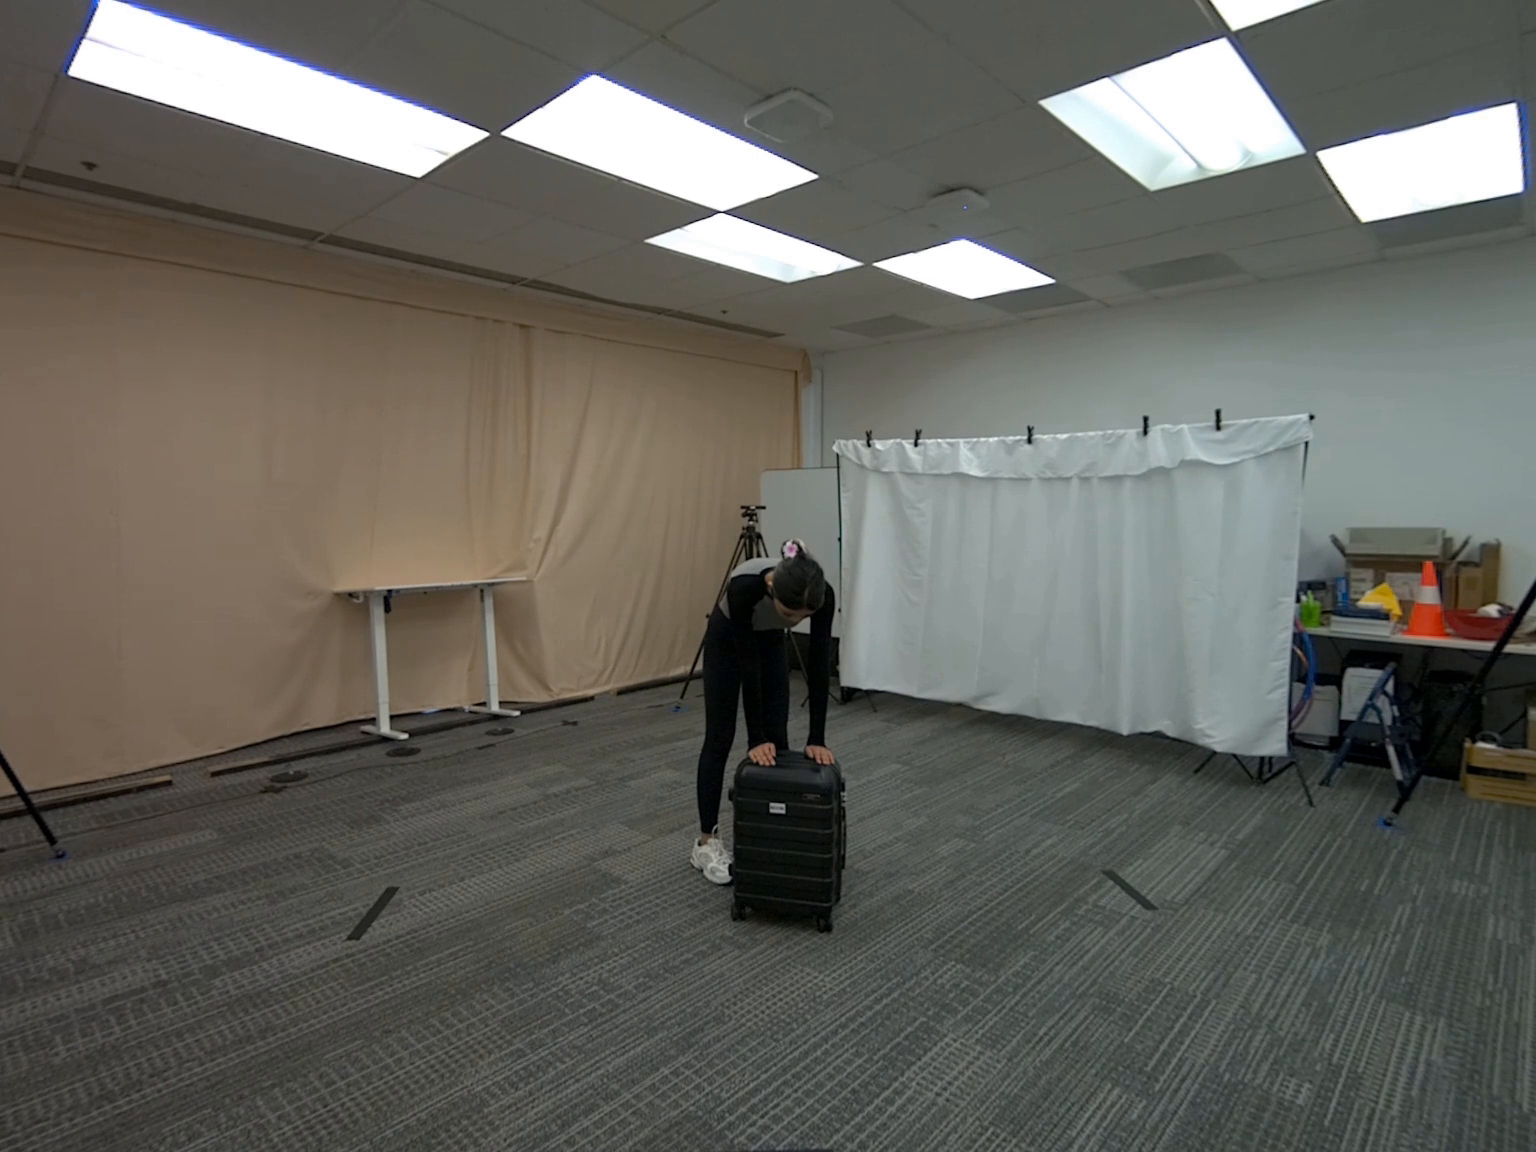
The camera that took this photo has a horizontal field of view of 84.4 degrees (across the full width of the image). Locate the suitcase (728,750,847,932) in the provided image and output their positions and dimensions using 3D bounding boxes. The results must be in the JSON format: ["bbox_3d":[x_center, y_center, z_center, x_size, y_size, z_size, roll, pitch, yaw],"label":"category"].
[{"bbox_3d":[0.075,0.880,2.866,0.382,0.547,0.245,1,5,16],"label":"suitcase"}]
